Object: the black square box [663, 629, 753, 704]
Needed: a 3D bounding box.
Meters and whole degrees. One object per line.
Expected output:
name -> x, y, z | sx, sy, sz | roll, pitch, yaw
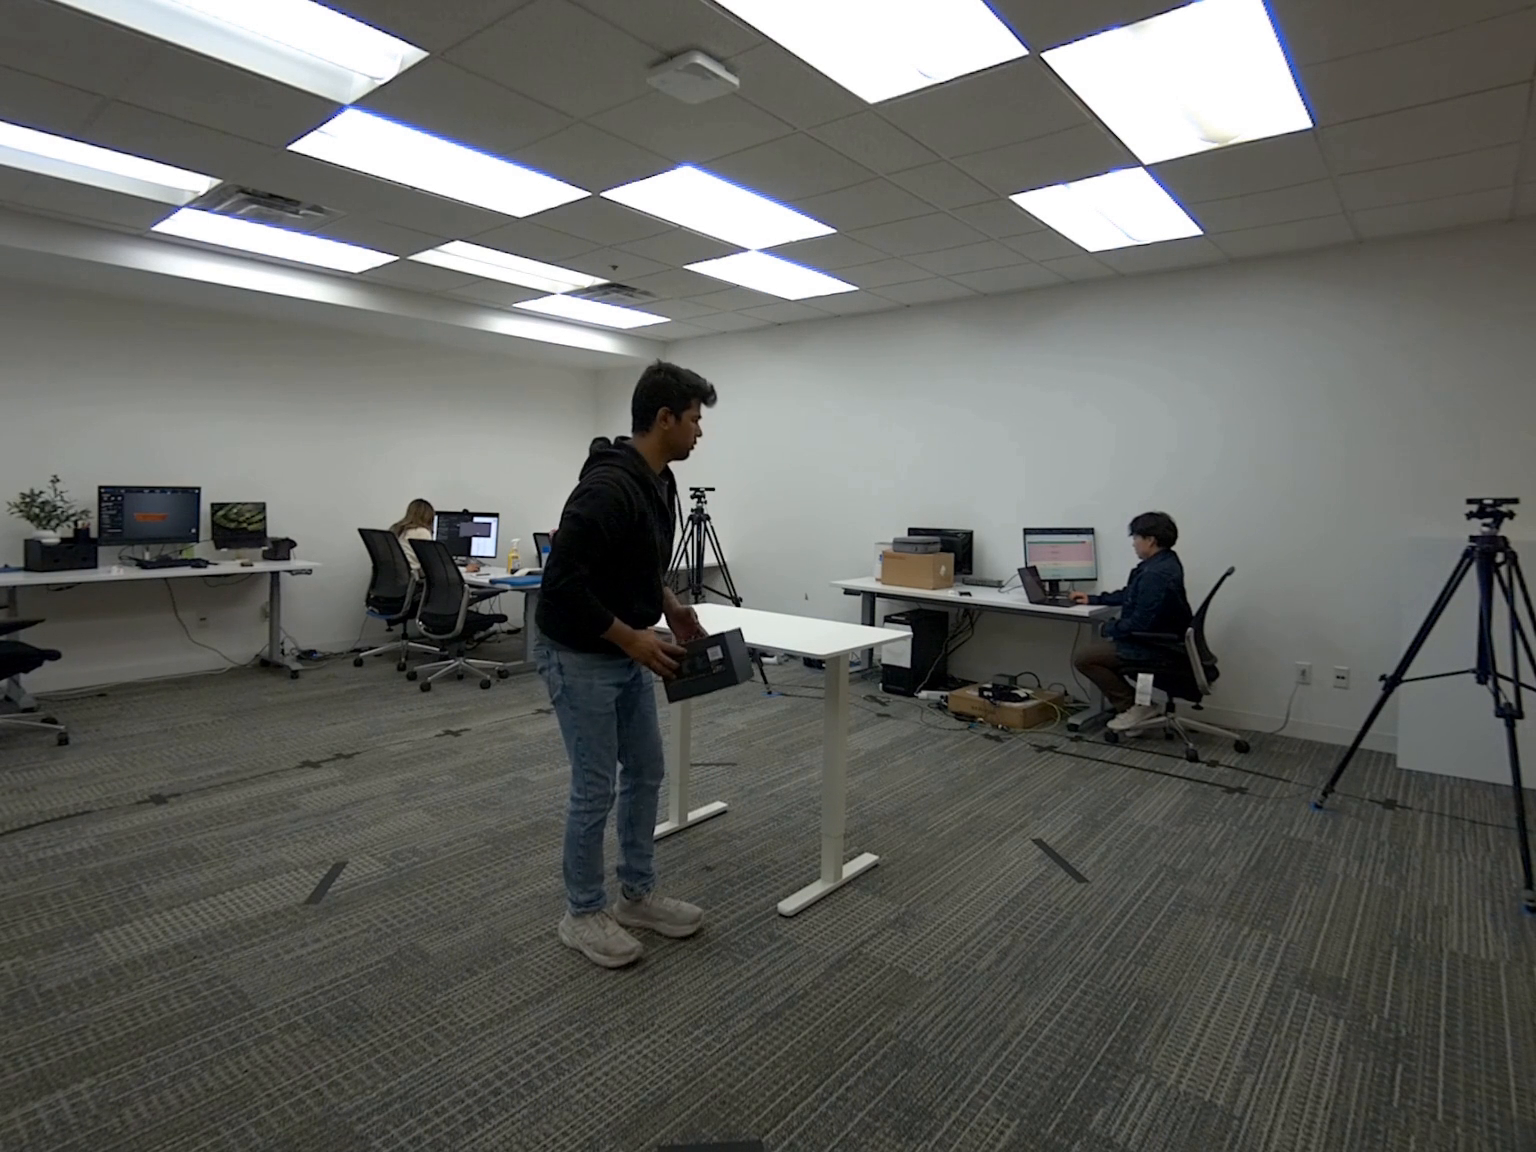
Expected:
black square box -> -0.189, 0.265, 2.517 | 0.218, 0.157, 0.225 | -13, -4, 4
